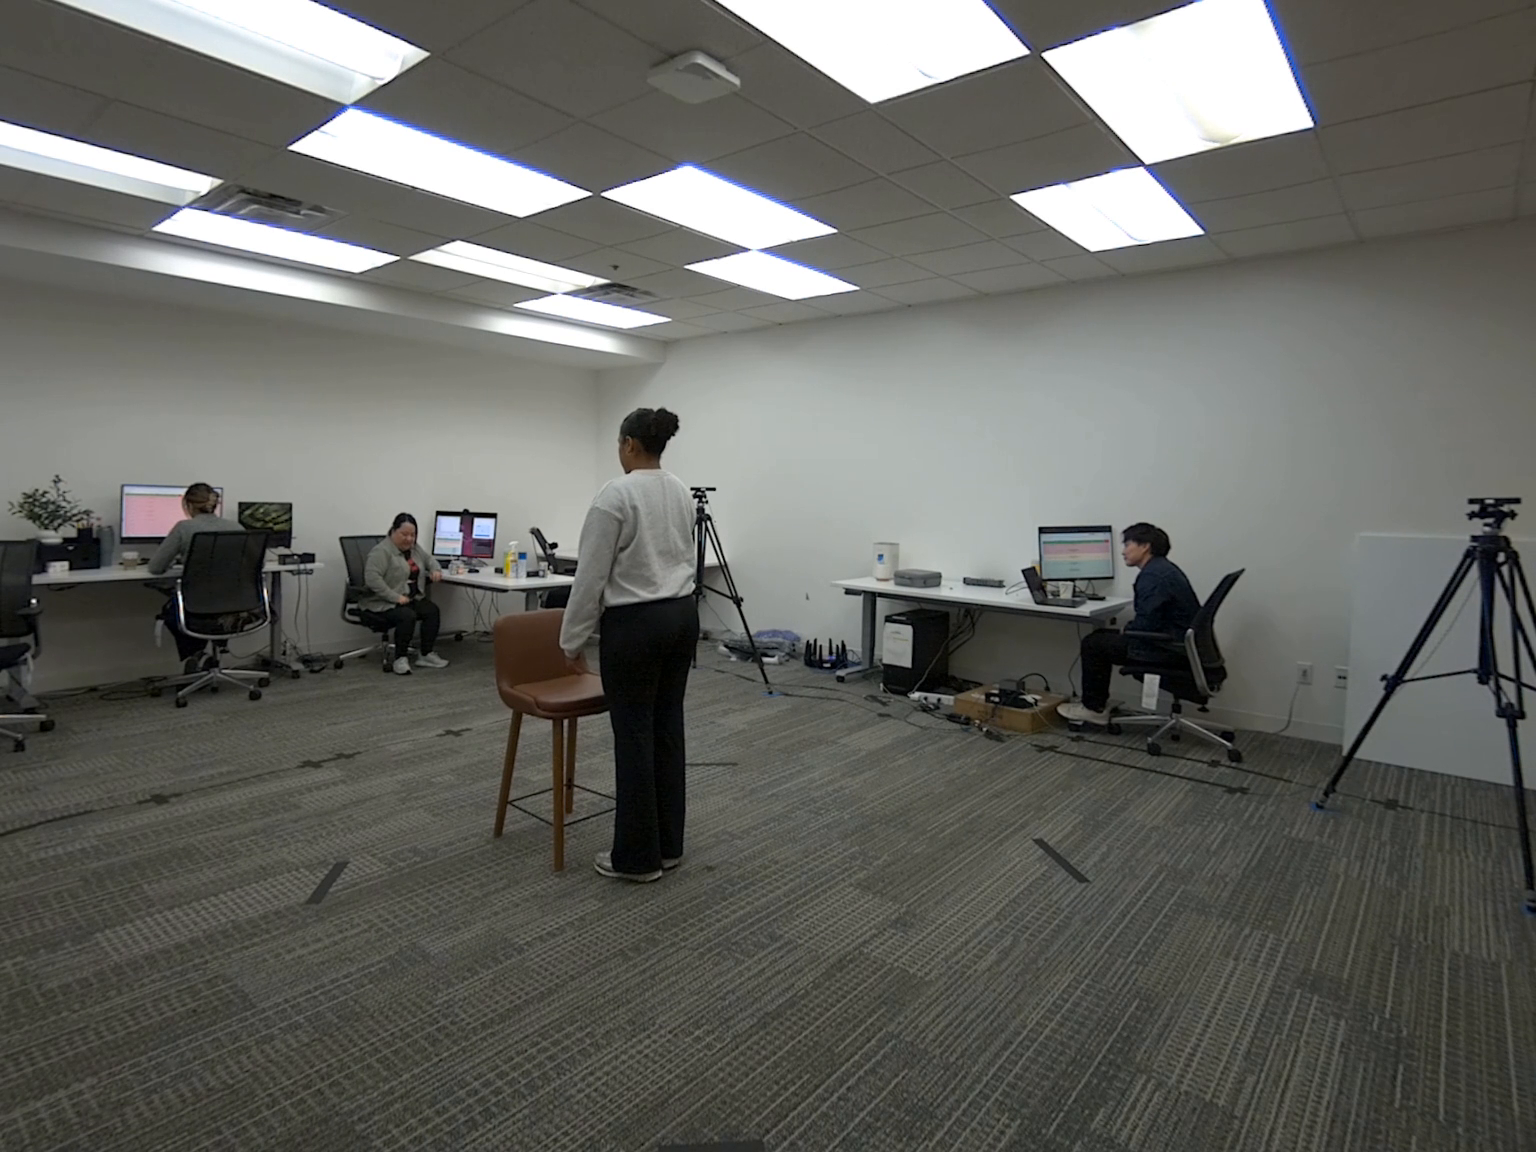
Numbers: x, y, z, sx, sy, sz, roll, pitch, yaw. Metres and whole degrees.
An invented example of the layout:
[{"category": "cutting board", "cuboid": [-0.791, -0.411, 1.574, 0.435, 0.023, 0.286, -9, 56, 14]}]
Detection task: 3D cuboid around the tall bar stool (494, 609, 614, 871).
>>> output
[{"category": "tall bar stool", "cuboid": [-0.809, 0.594, 3.339, 0.483, 0.889, 0.442, 1, 2, 42]}]
